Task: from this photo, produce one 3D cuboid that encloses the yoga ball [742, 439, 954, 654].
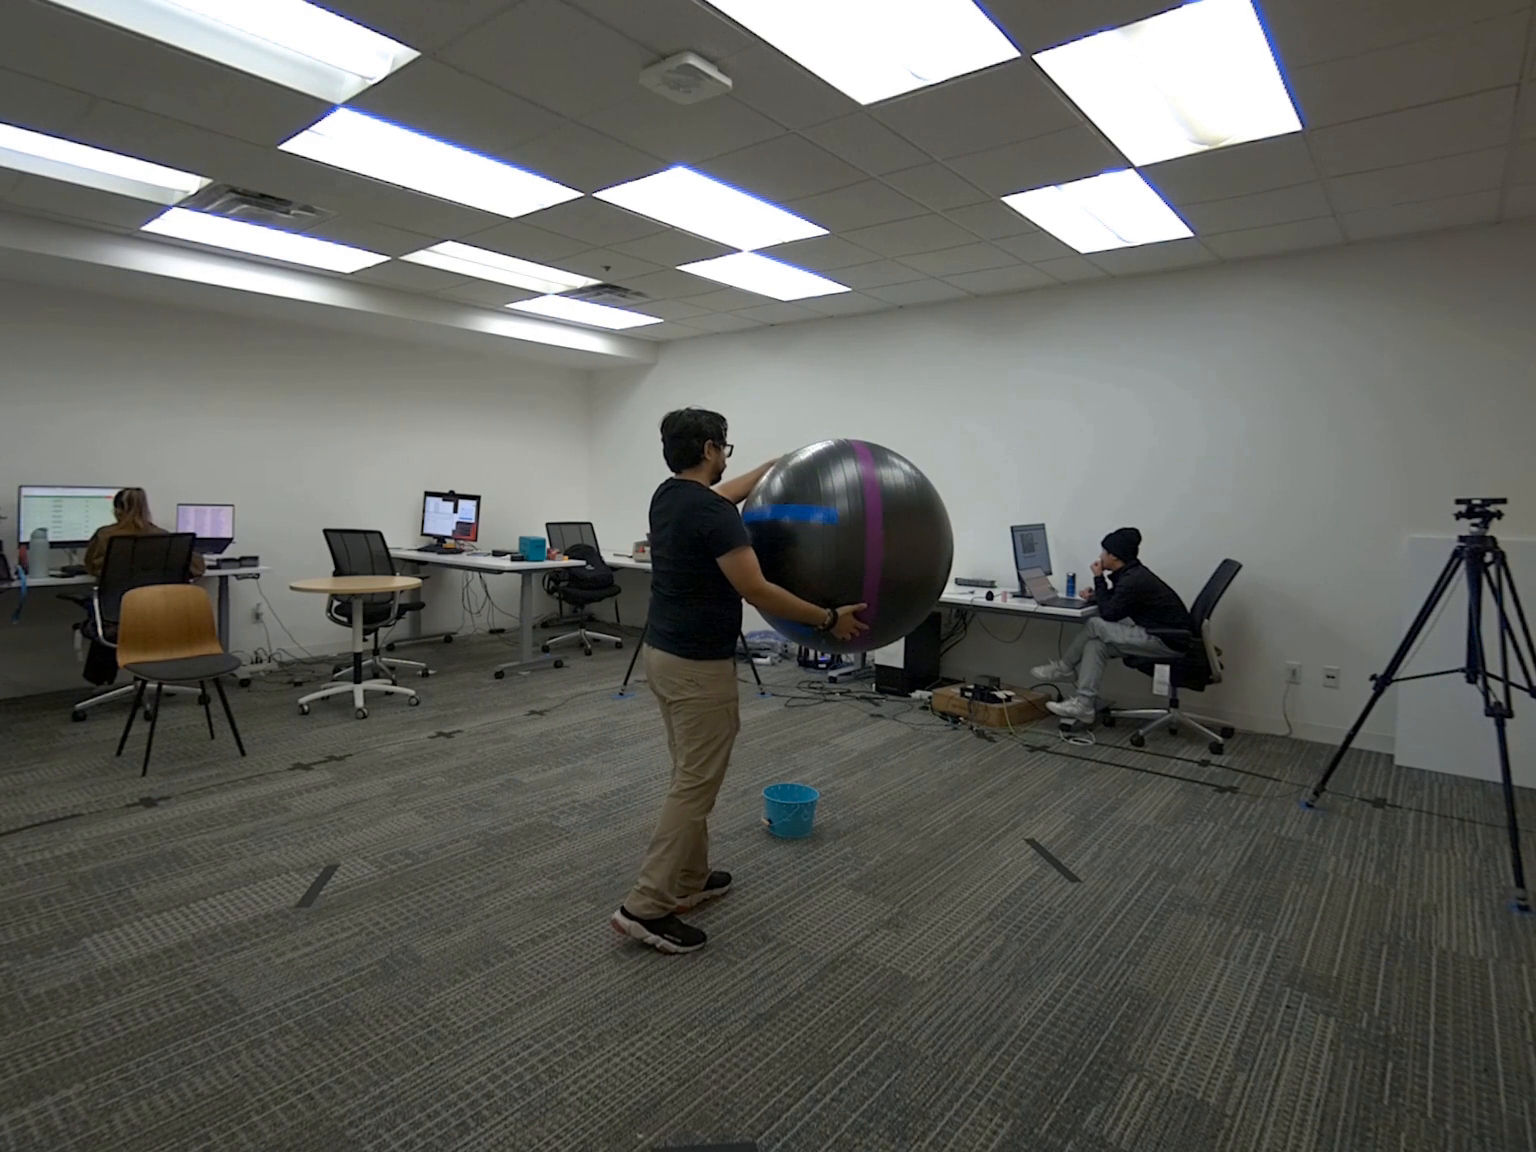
[{"bbox_3d":[0.263,-0.105,3.022,0.757,0.755,0.762,1,4,-2],"label":"yoga ball"}]
